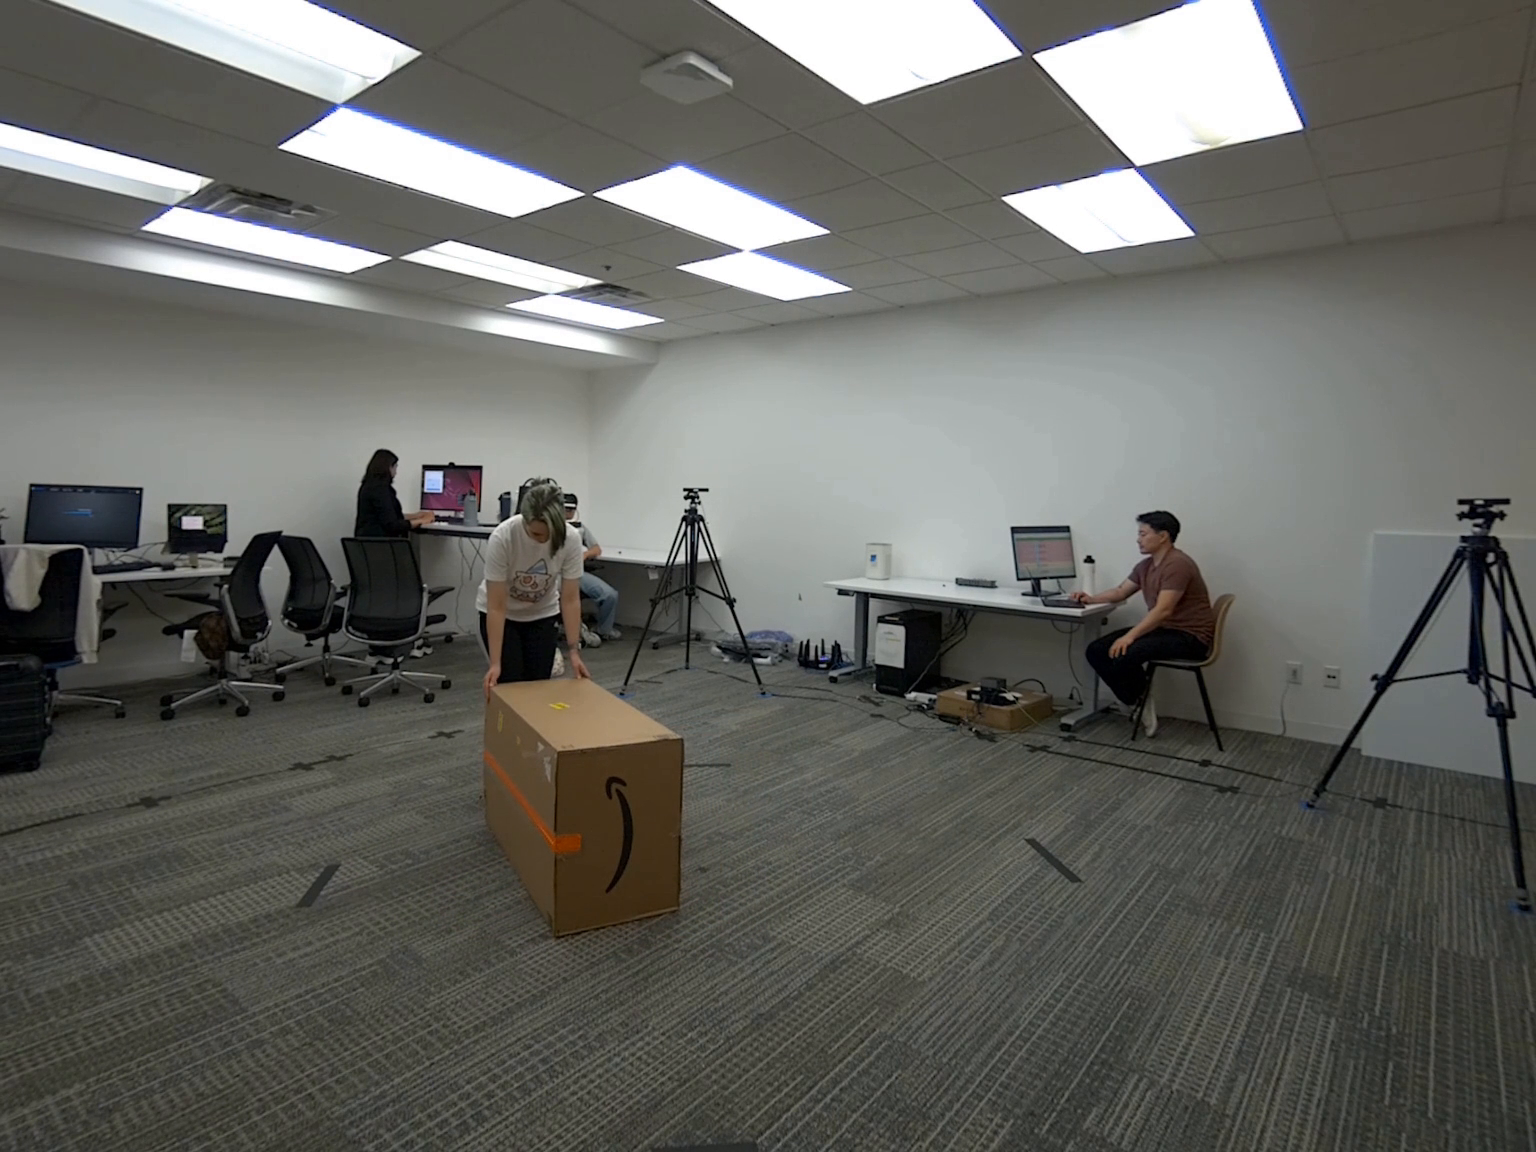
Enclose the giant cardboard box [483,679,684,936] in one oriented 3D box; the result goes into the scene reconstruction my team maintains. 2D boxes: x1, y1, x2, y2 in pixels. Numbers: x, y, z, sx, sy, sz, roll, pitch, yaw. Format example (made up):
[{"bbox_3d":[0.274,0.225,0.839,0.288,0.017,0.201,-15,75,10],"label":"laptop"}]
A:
[{"bbox_3d":[-0.735,0.769,3.138,0.435,0.582,1.057,-2,5,-30],"label":"giant cardboard box"}]
